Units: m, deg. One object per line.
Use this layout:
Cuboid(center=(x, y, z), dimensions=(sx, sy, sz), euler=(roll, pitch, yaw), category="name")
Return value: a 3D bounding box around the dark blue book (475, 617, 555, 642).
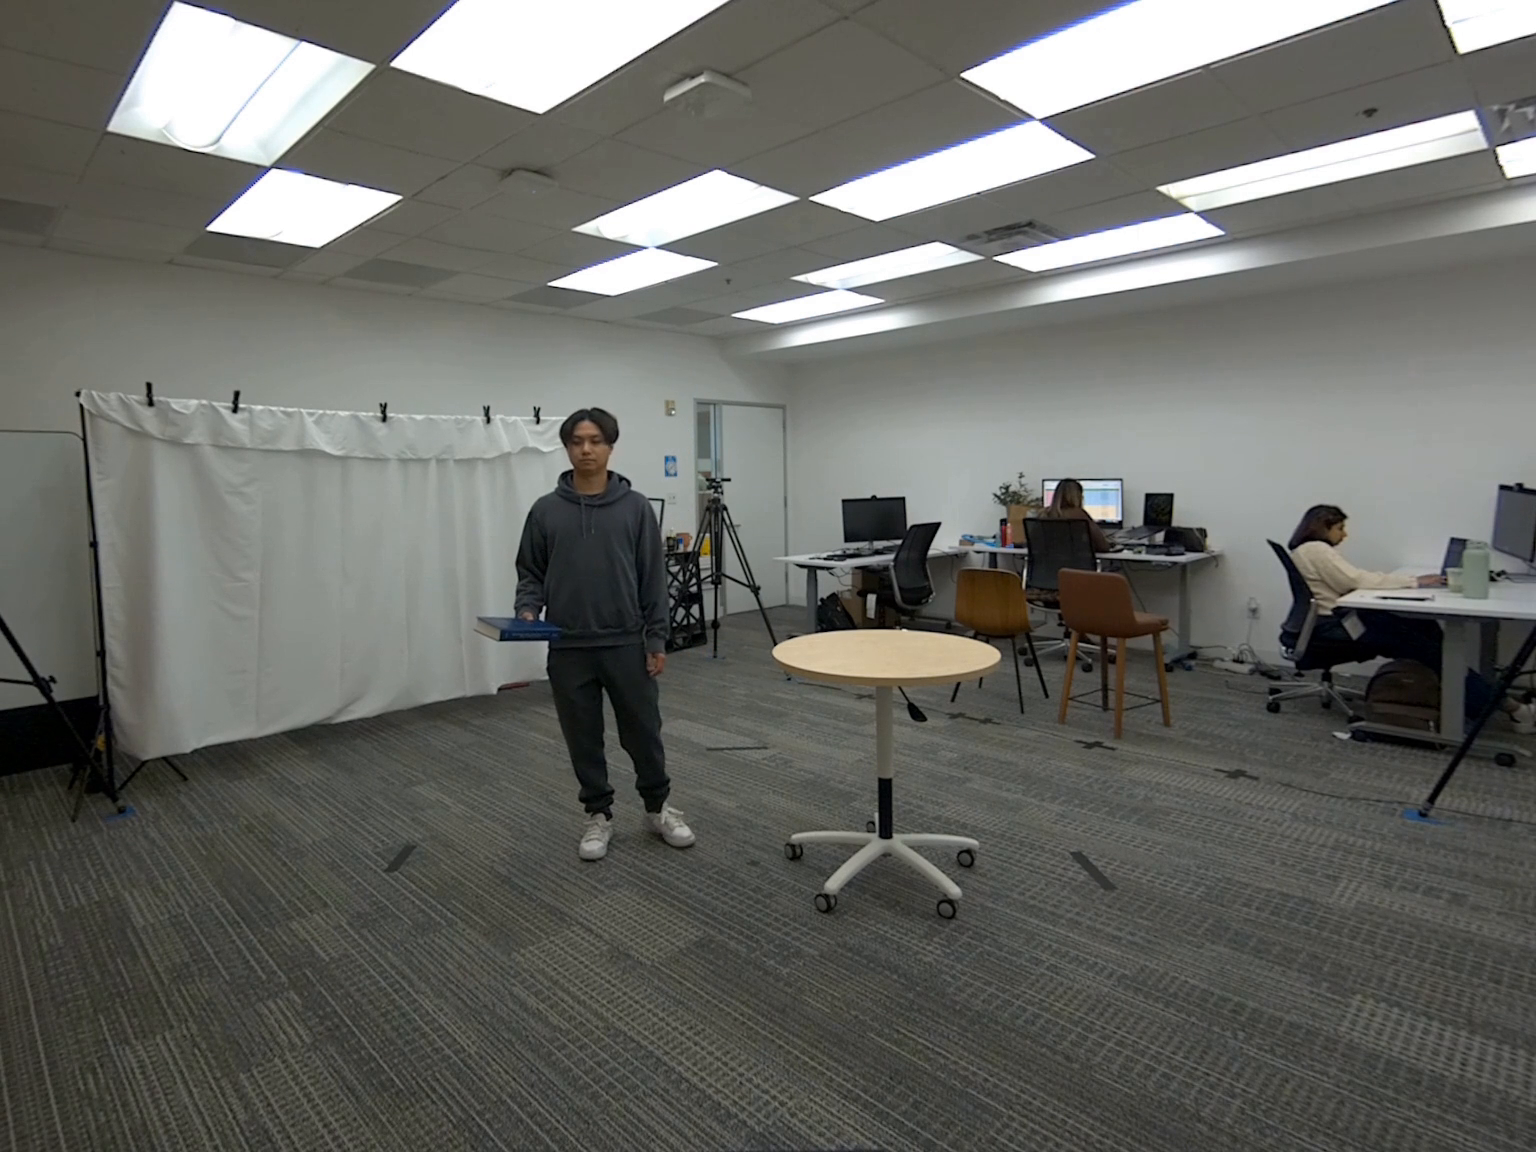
Cuboid(center=(-0.850, 0.183, 2.905), dimensions=(0.169, 0.045, 0.237), euler=(14, 7, 40), category="dark blue book")
